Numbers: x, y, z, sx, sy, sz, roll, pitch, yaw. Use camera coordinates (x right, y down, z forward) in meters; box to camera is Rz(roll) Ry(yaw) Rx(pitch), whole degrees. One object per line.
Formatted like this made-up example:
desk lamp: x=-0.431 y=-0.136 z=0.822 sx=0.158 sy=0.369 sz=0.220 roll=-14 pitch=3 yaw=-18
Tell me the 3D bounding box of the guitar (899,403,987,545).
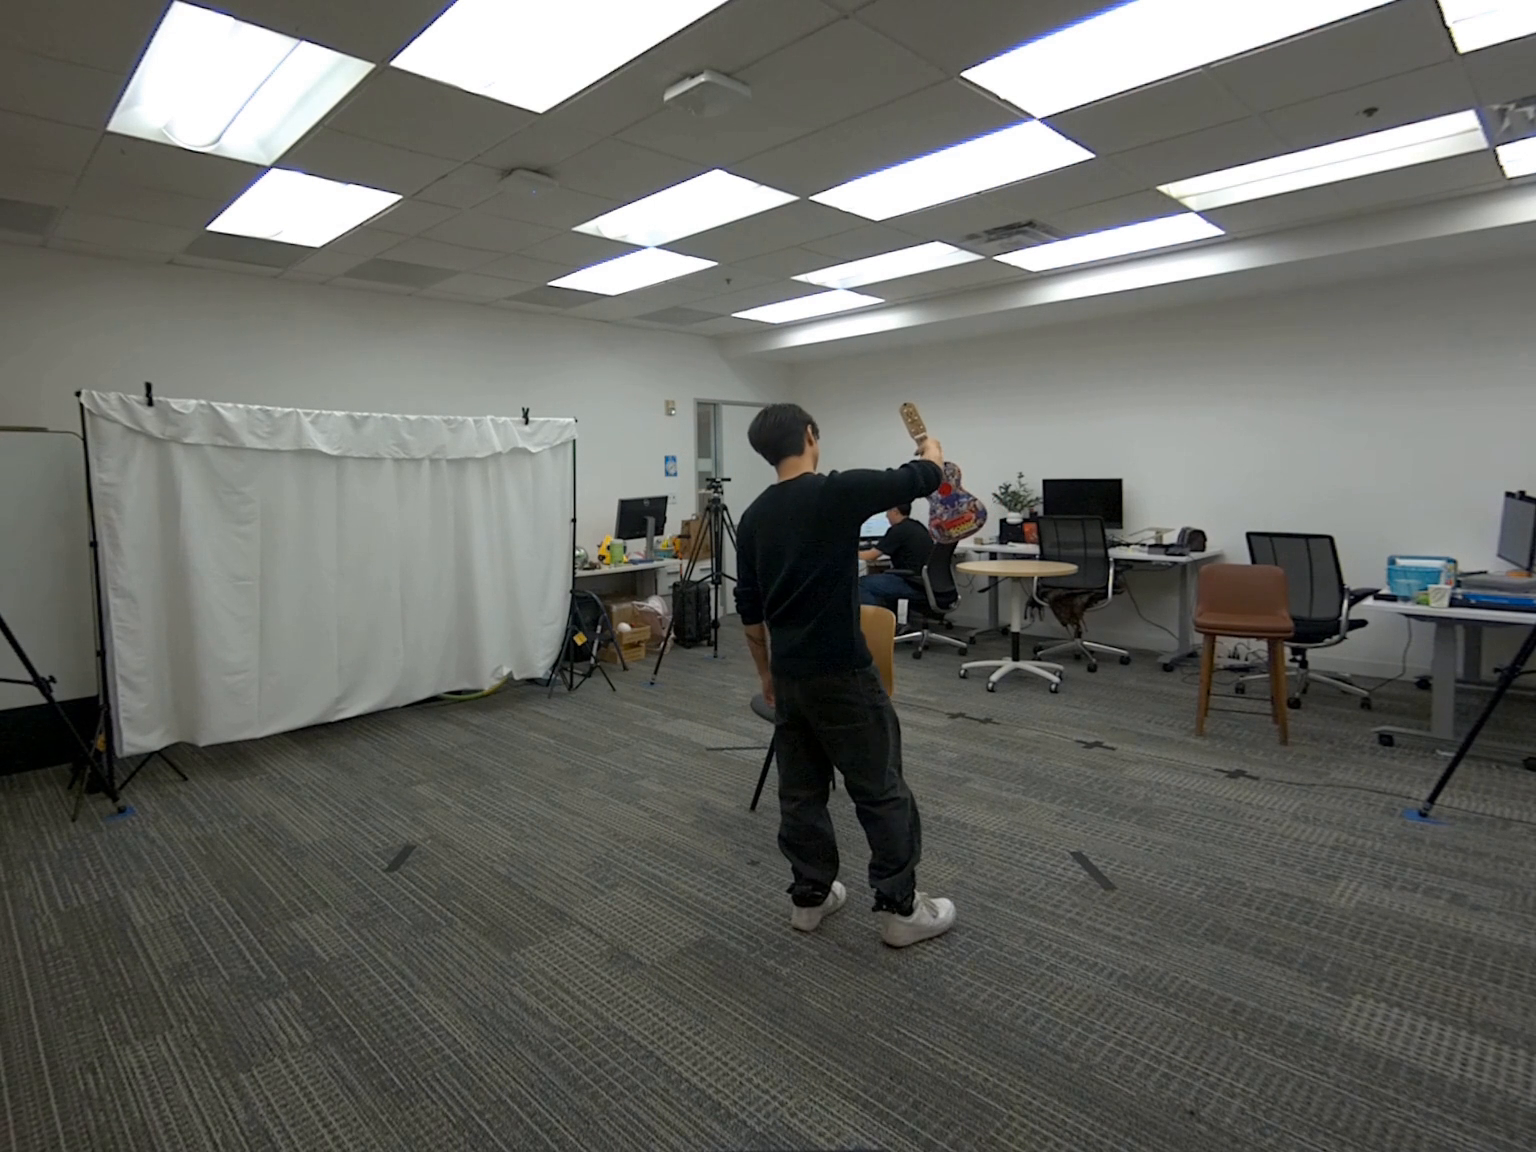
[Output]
guitar: x=0.603 y=-0.366 z=2.907 sx=0.194 sy=0.503 sz=0.069 roll=-13 pitch=-10 yaw=6
